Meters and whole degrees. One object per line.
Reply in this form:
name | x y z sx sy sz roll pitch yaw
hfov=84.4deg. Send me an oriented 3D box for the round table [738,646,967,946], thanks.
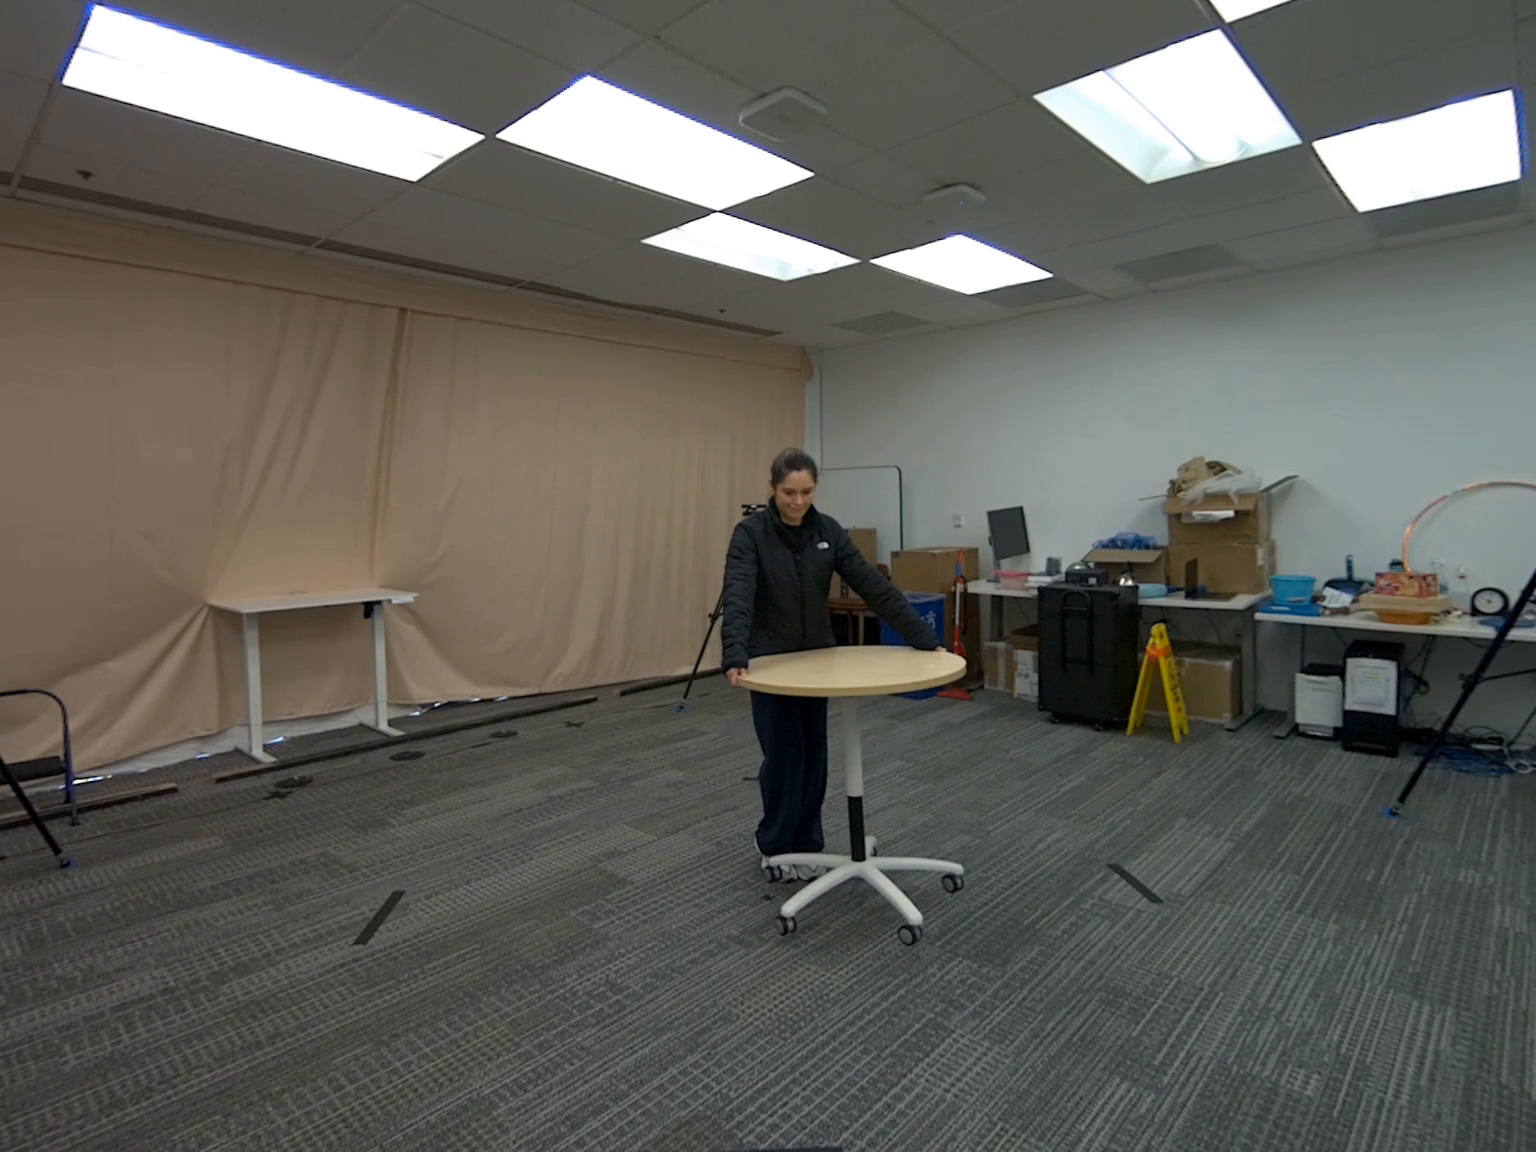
round table | 0.297 0.693 2.833 0.784 0.785 0.787 -3 3 -2
